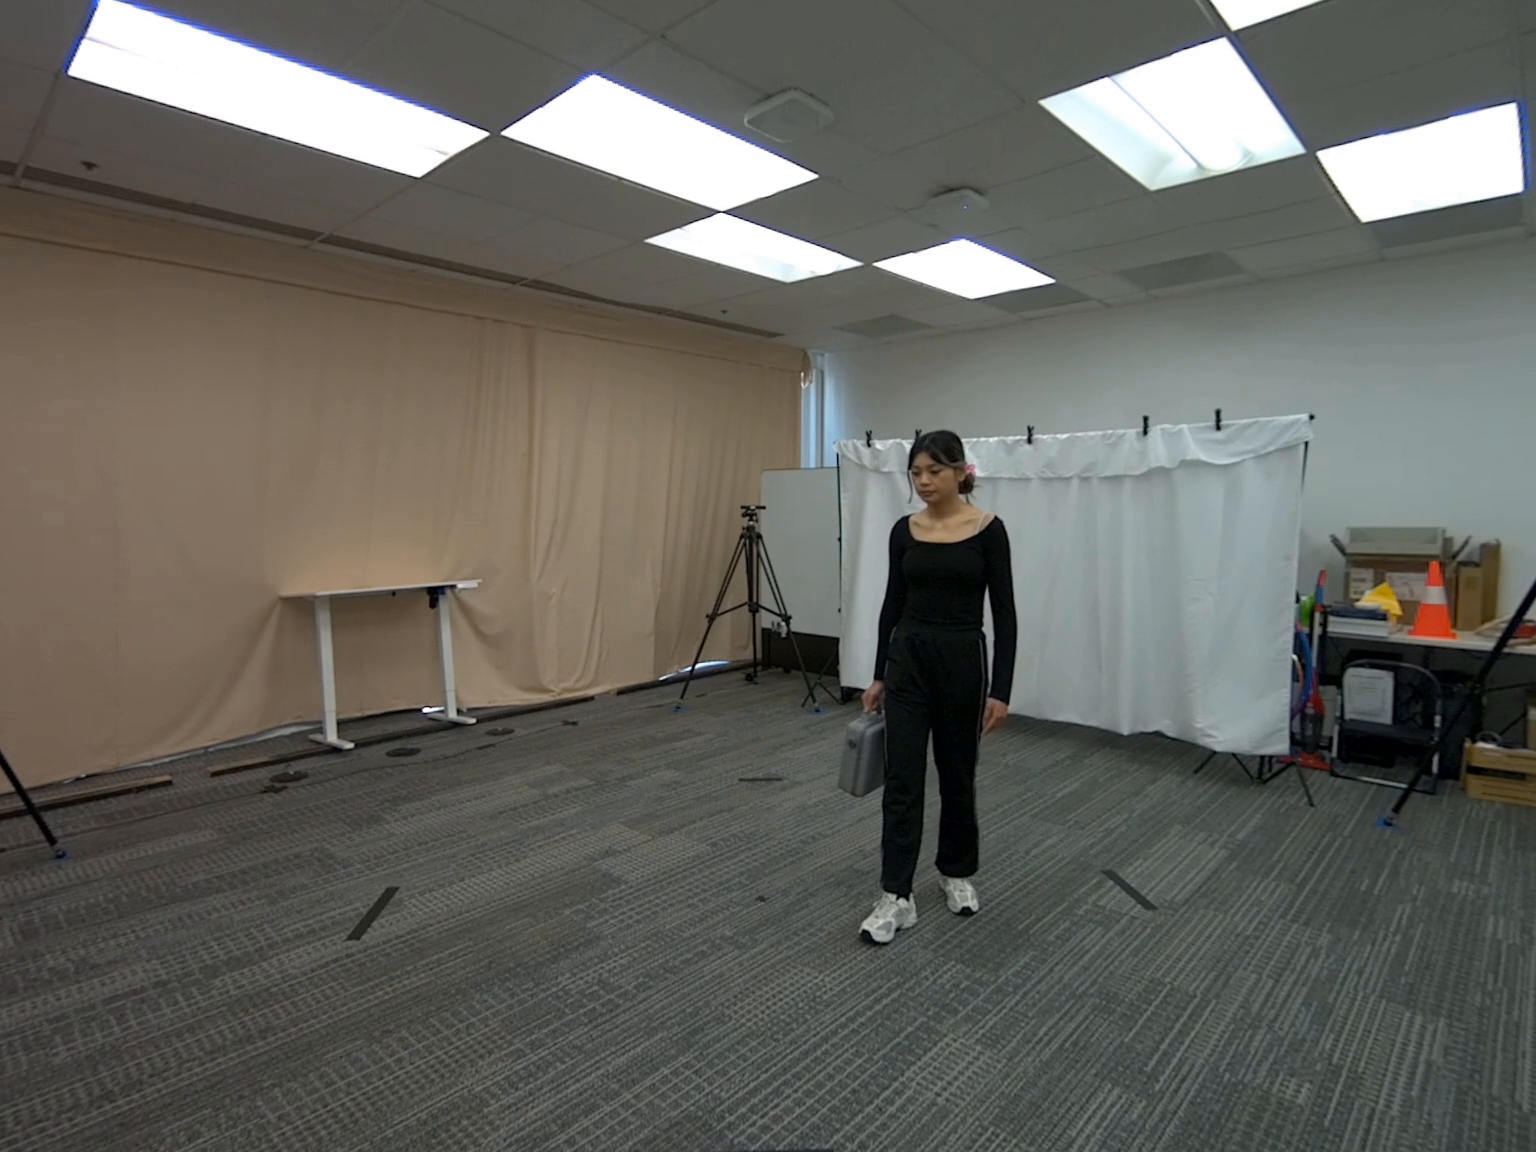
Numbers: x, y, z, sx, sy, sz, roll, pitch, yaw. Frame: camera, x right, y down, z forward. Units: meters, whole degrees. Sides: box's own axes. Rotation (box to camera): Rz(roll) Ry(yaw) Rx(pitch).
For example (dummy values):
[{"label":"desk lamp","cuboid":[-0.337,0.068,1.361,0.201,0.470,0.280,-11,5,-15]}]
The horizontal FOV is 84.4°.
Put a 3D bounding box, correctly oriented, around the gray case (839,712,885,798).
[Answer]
[{"label":"gray case","cuboid":[0.366,0.617,2.957,0.108,0.259,0.249,11,10,35]}]
